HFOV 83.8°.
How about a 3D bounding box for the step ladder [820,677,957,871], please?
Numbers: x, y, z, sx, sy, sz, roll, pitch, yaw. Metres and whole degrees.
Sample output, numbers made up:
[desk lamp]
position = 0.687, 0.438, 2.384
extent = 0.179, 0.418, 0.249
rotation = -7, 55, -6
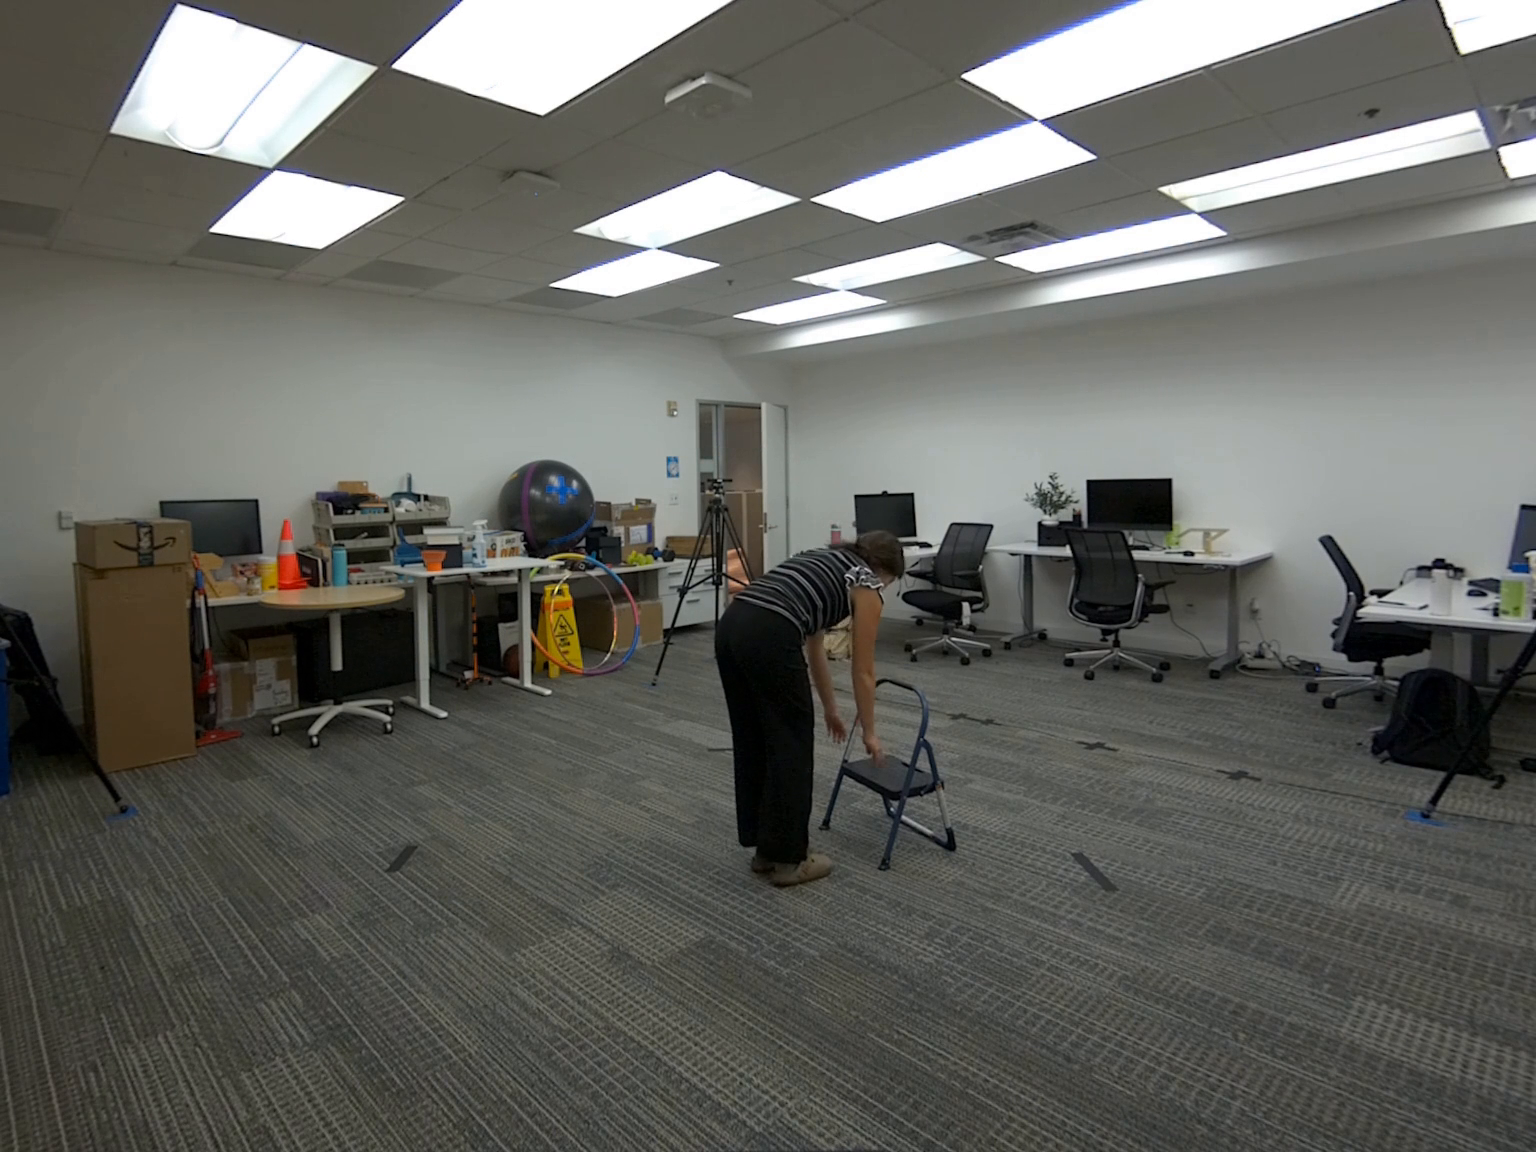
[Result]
[step ladder]
position = 0.453, 0.714, 3.279
extent = 0.341, 0.604, 0.442
rotation = -2, 5, -27
